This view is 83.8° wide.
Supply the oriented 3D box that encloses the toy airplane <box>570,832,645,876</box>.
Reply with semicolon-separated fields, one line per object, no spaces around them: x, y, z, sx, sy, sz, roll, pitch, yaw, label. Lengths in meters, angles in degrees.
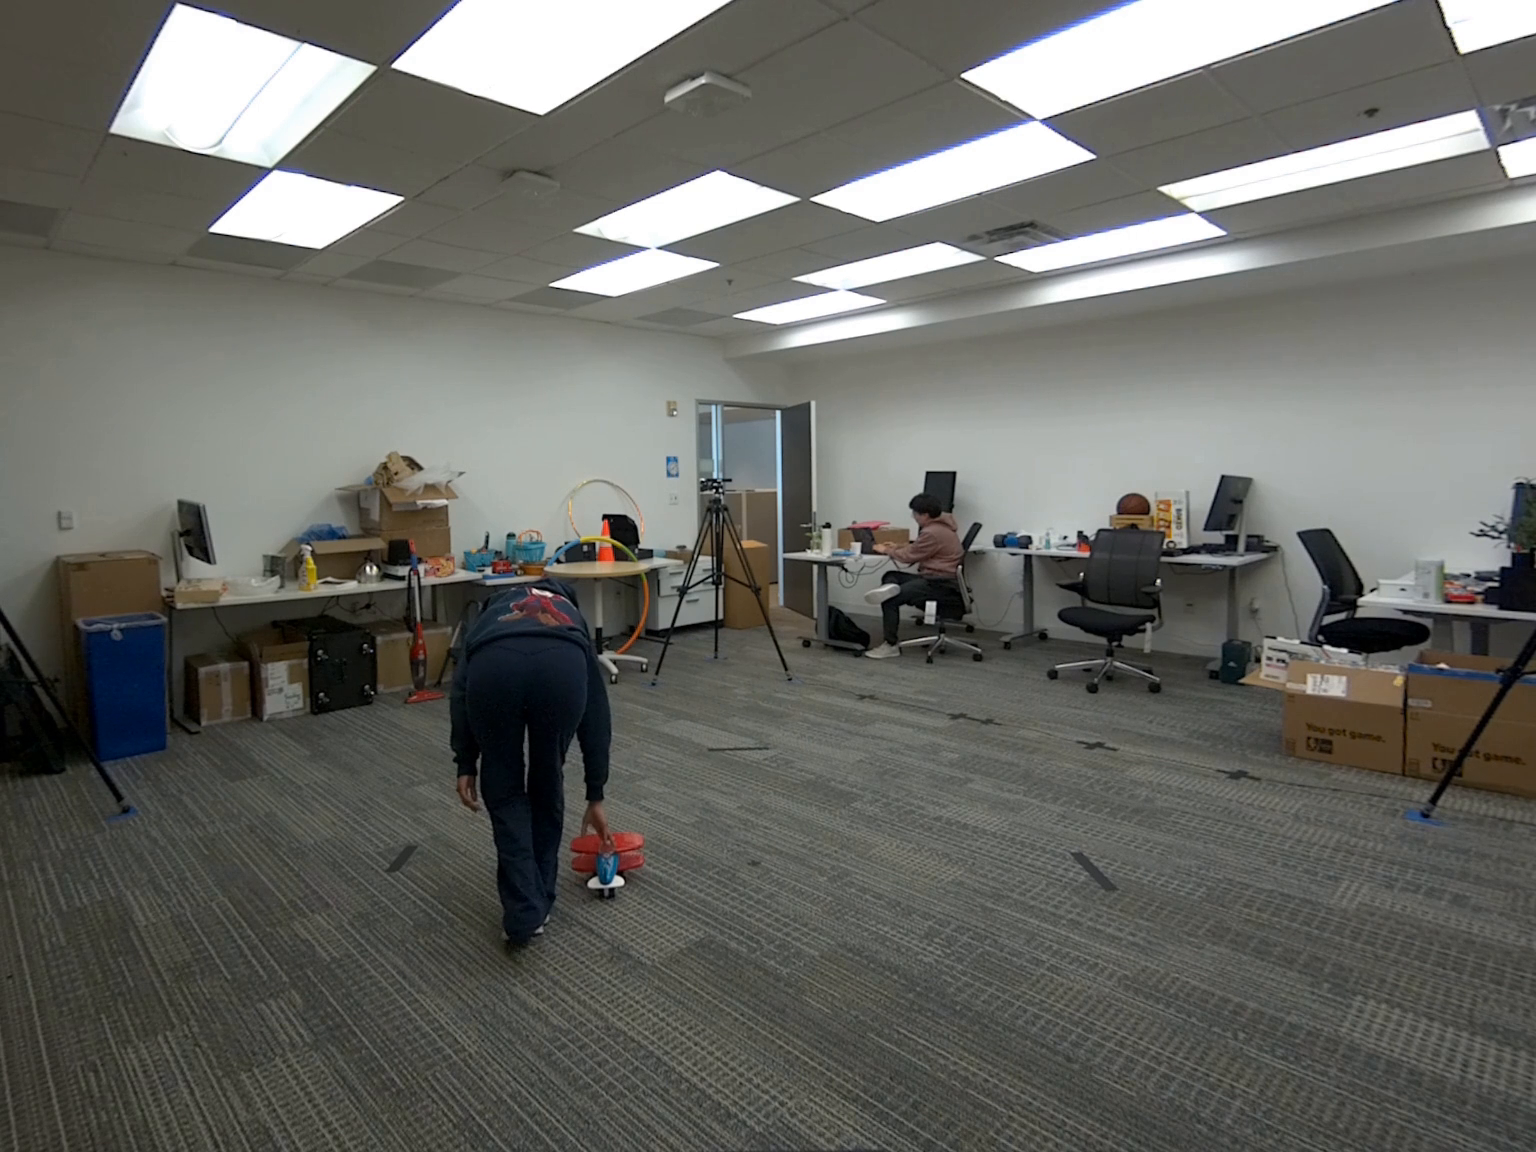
-0.536;0.996;2.960;0.245;0.156;0.267;-5;7;-33;toy airplane
